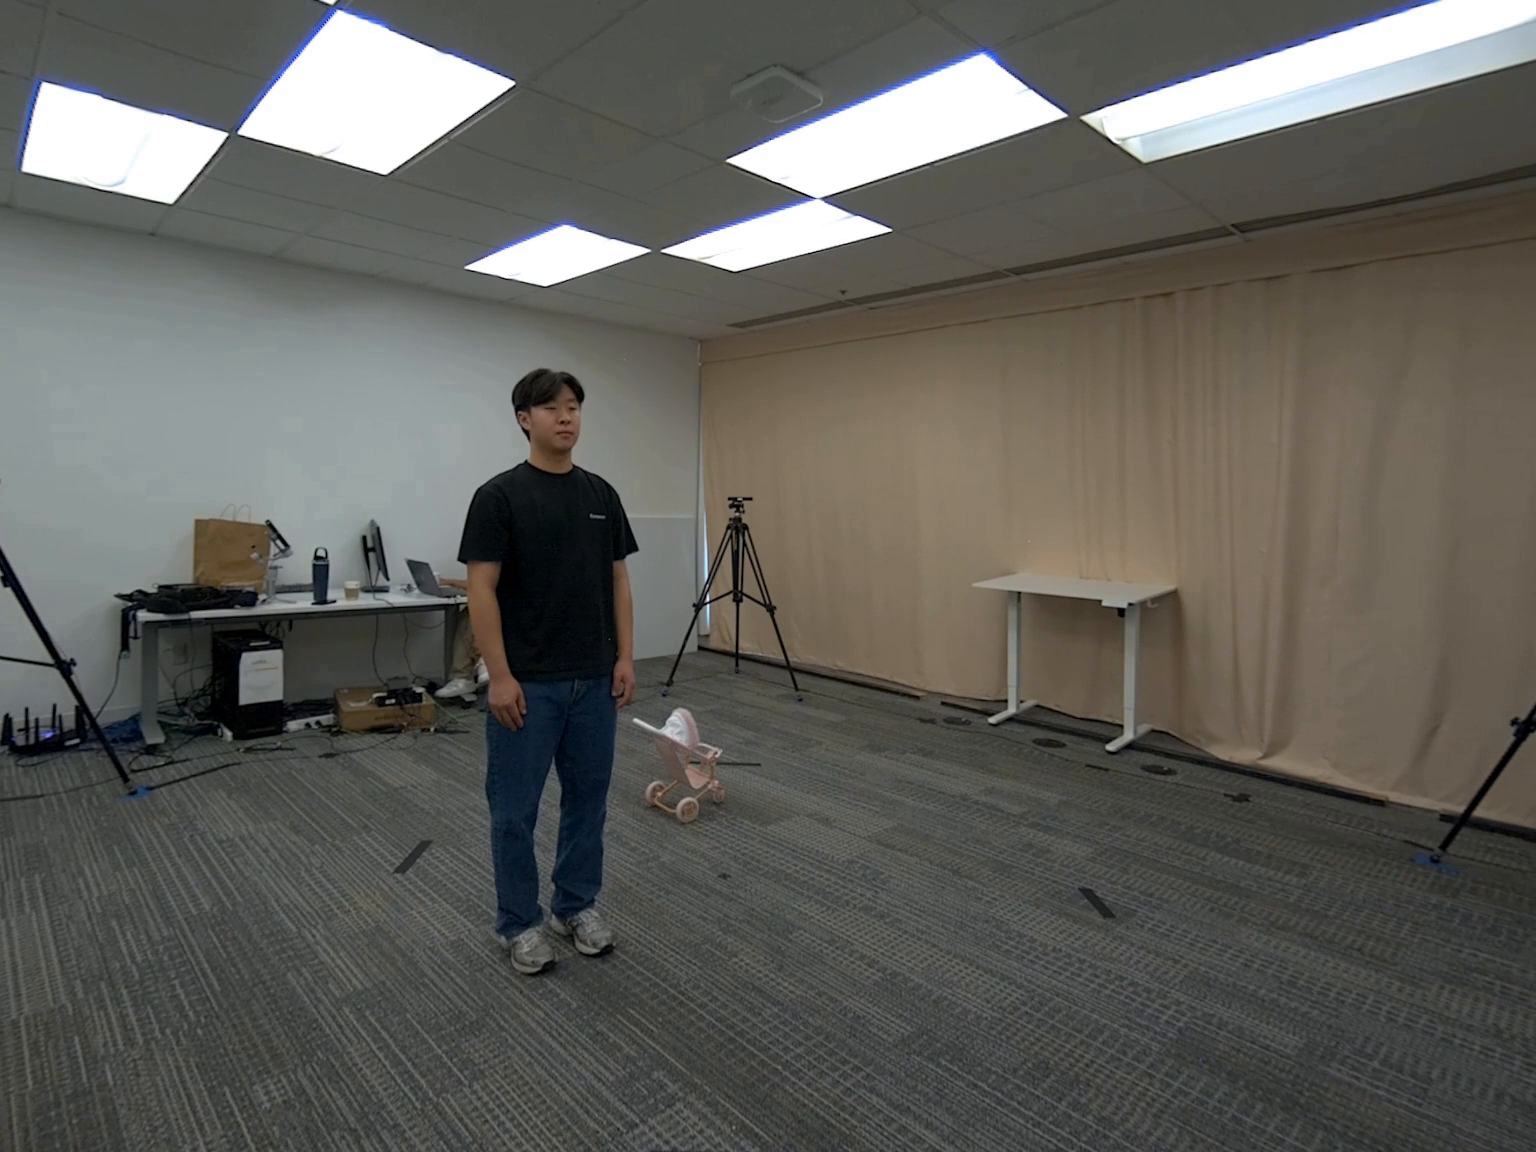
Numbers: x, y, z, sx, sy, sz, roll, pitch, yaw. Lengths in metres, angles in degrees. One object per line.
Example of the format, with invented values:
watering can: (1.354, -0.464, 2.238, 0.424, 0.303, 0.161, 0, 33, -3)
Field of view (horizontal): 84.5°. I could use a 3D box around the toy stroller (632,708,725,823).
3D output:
toy stroller: (-0.377, 0.823, 3.735, 0.337, 0.529, 0.288, -20, 15, -32)
